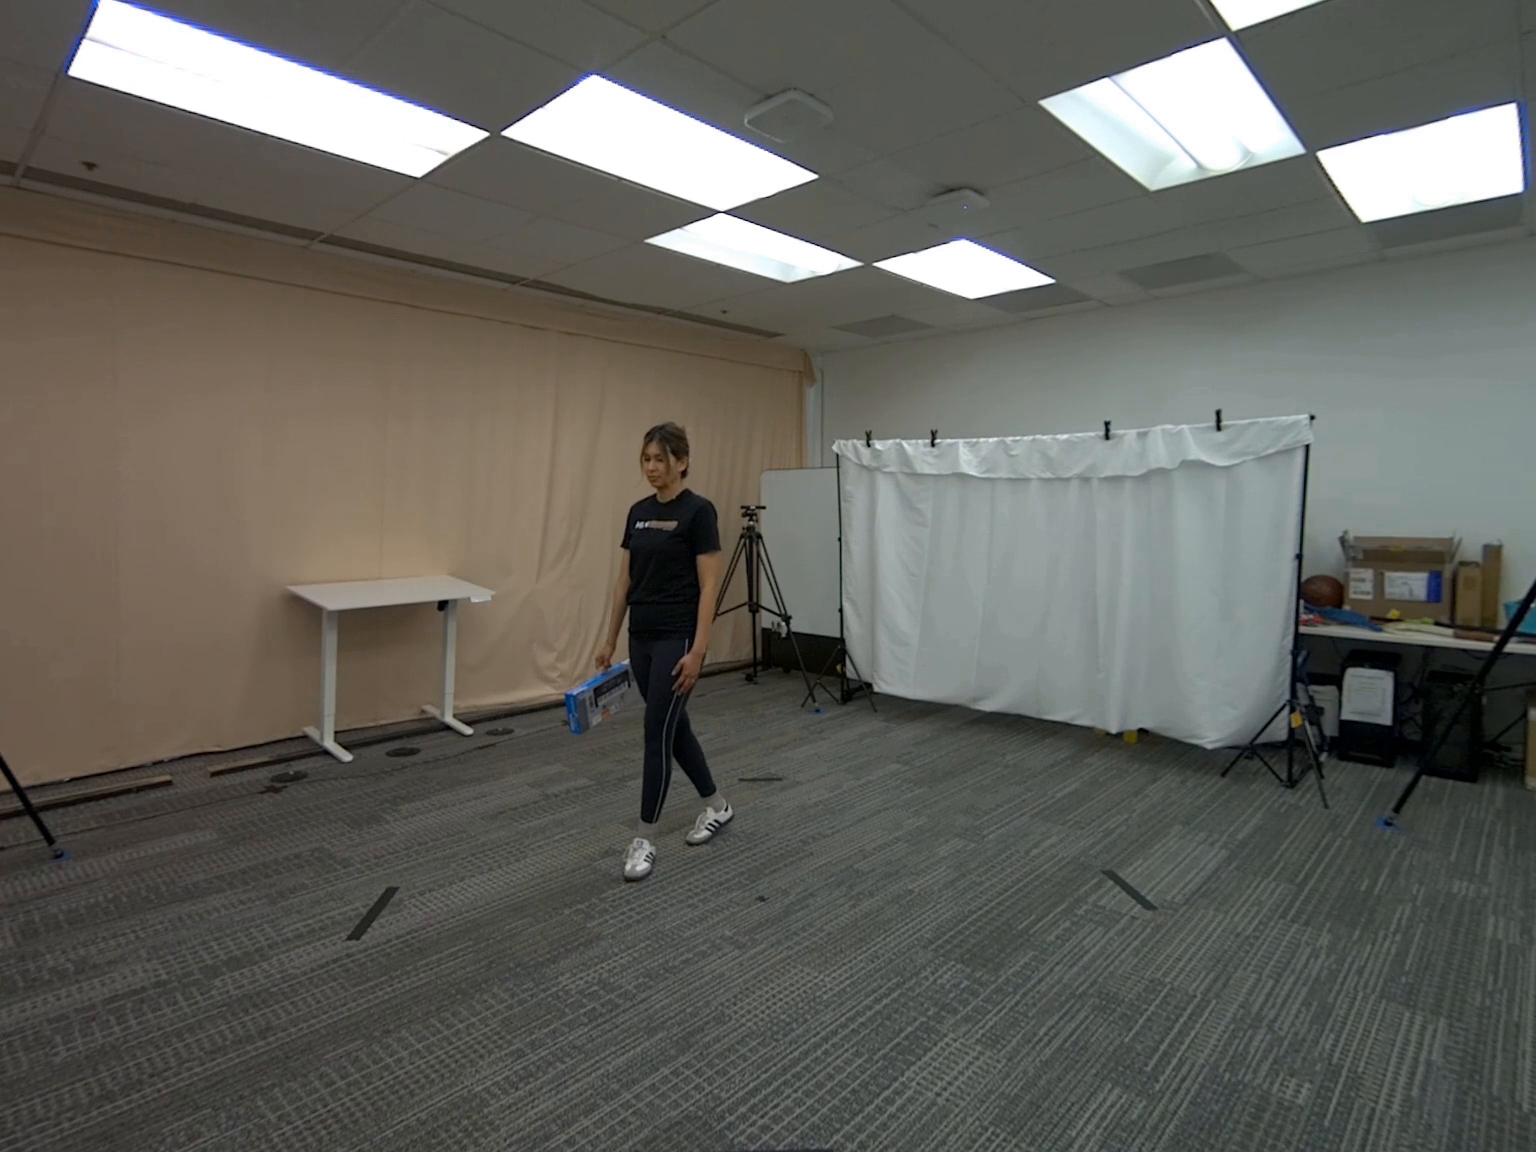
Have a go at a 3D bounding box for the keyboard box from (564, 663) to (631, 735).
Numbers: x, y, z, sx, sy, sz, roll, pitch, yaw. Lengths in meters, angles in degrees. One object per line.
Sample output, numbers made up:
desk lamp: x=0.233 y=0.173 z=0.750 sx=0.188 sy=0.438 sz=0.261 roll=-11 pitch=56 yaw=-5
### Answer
keyboard box: x=-0.667 y=0.491 z=3.512 sx=0.061 sy=0.174 sz=0.428 roll=4 pitch=17 yaw=30
